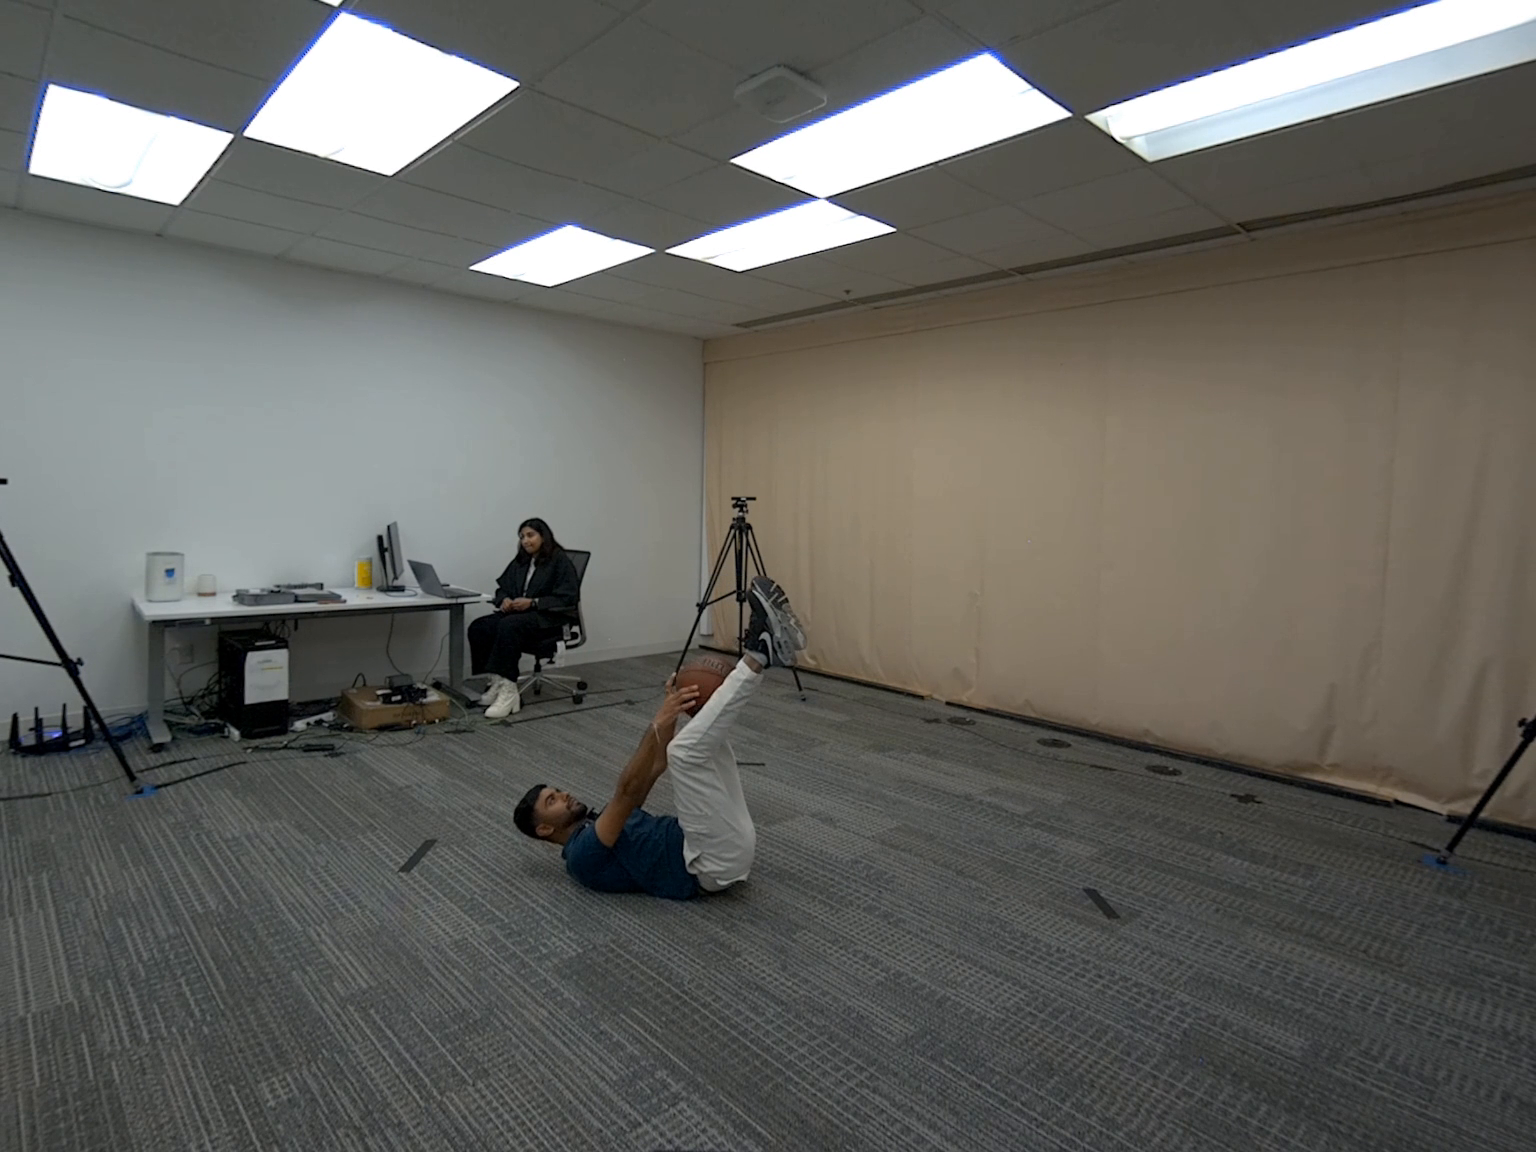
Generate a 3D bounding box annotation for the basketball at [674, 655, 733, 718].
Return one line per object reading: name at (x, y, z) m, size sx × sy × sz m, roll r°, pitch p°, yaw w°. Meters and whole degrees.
basketball at (-0.240, 0.389, 2.975) m, size 0.236 × 0.235 × 0.237 m, roll 1°, pitch 4°, yaw -1°
